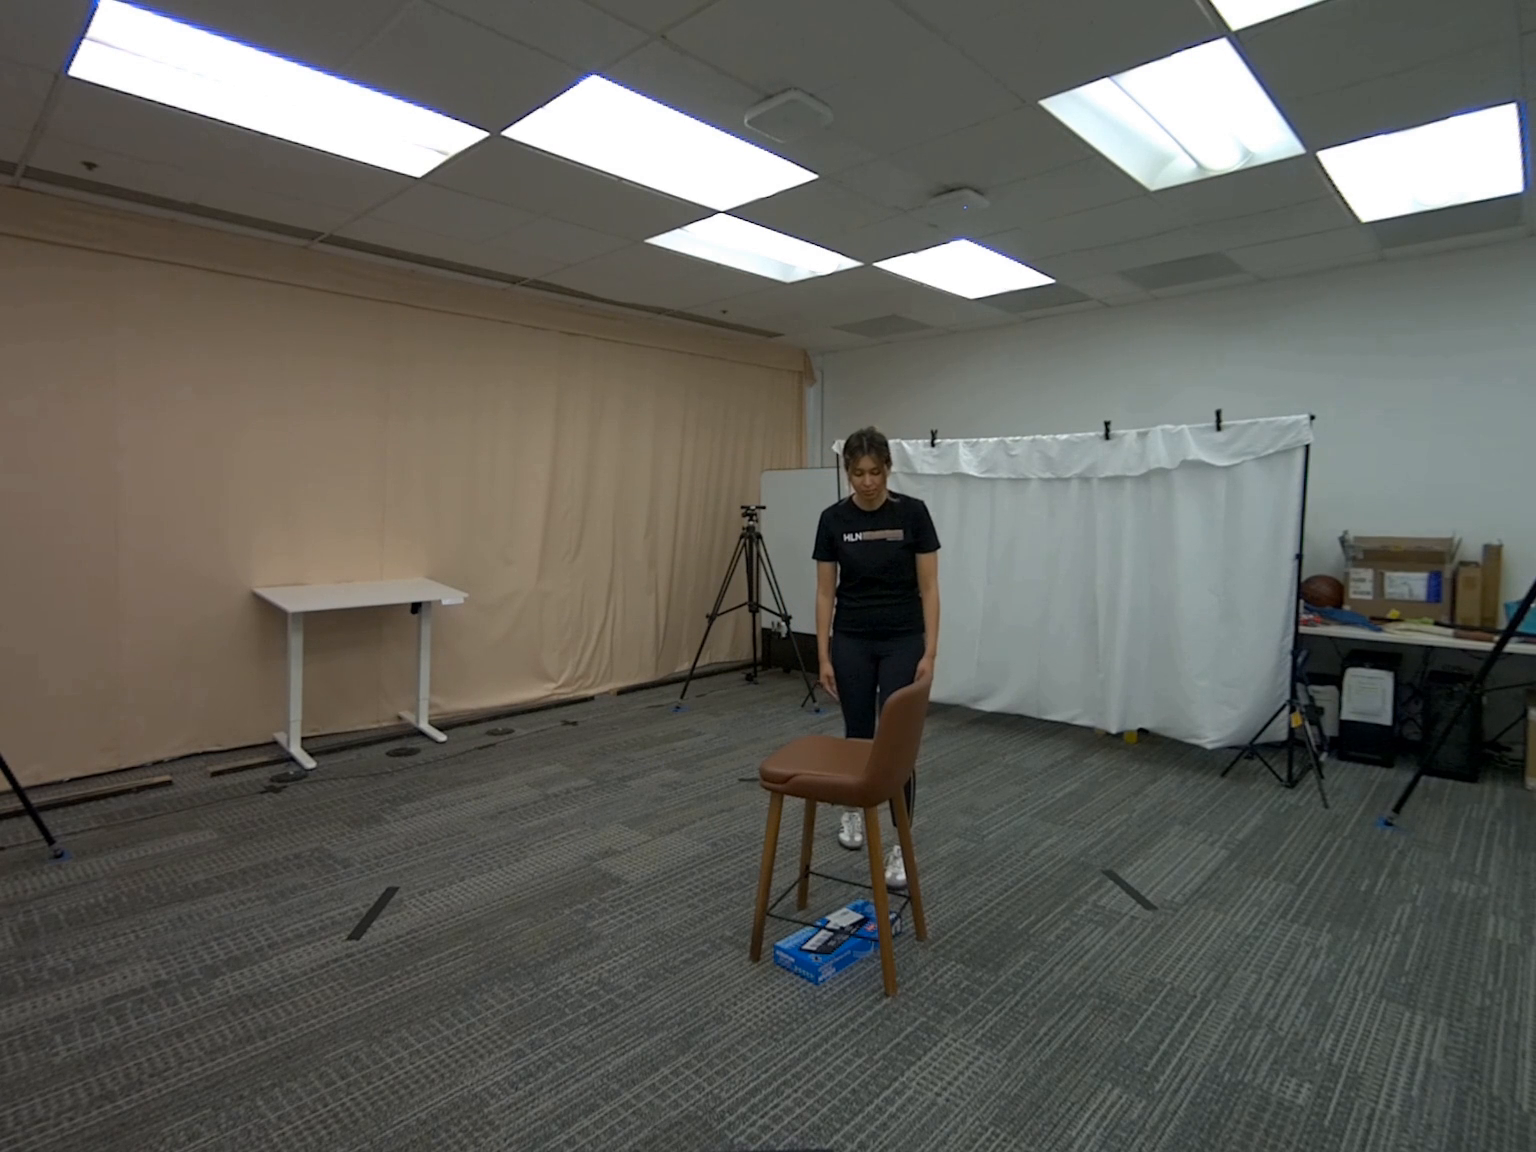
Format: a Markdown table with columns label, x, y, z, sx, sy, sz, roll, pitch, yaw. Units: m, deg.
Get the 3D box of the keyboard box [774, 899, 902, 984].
| label | x | y | z | sx | sy | sz | roll | pitch | yaw |
| --- | --- | --- | --- | --- | --- | --- | --- | --- | --- |
| keyboard box | 0.232 | 1.146 | 2.651 | 0.182 | 0.059 | 0.423 | 4 | 6 | 44 |
